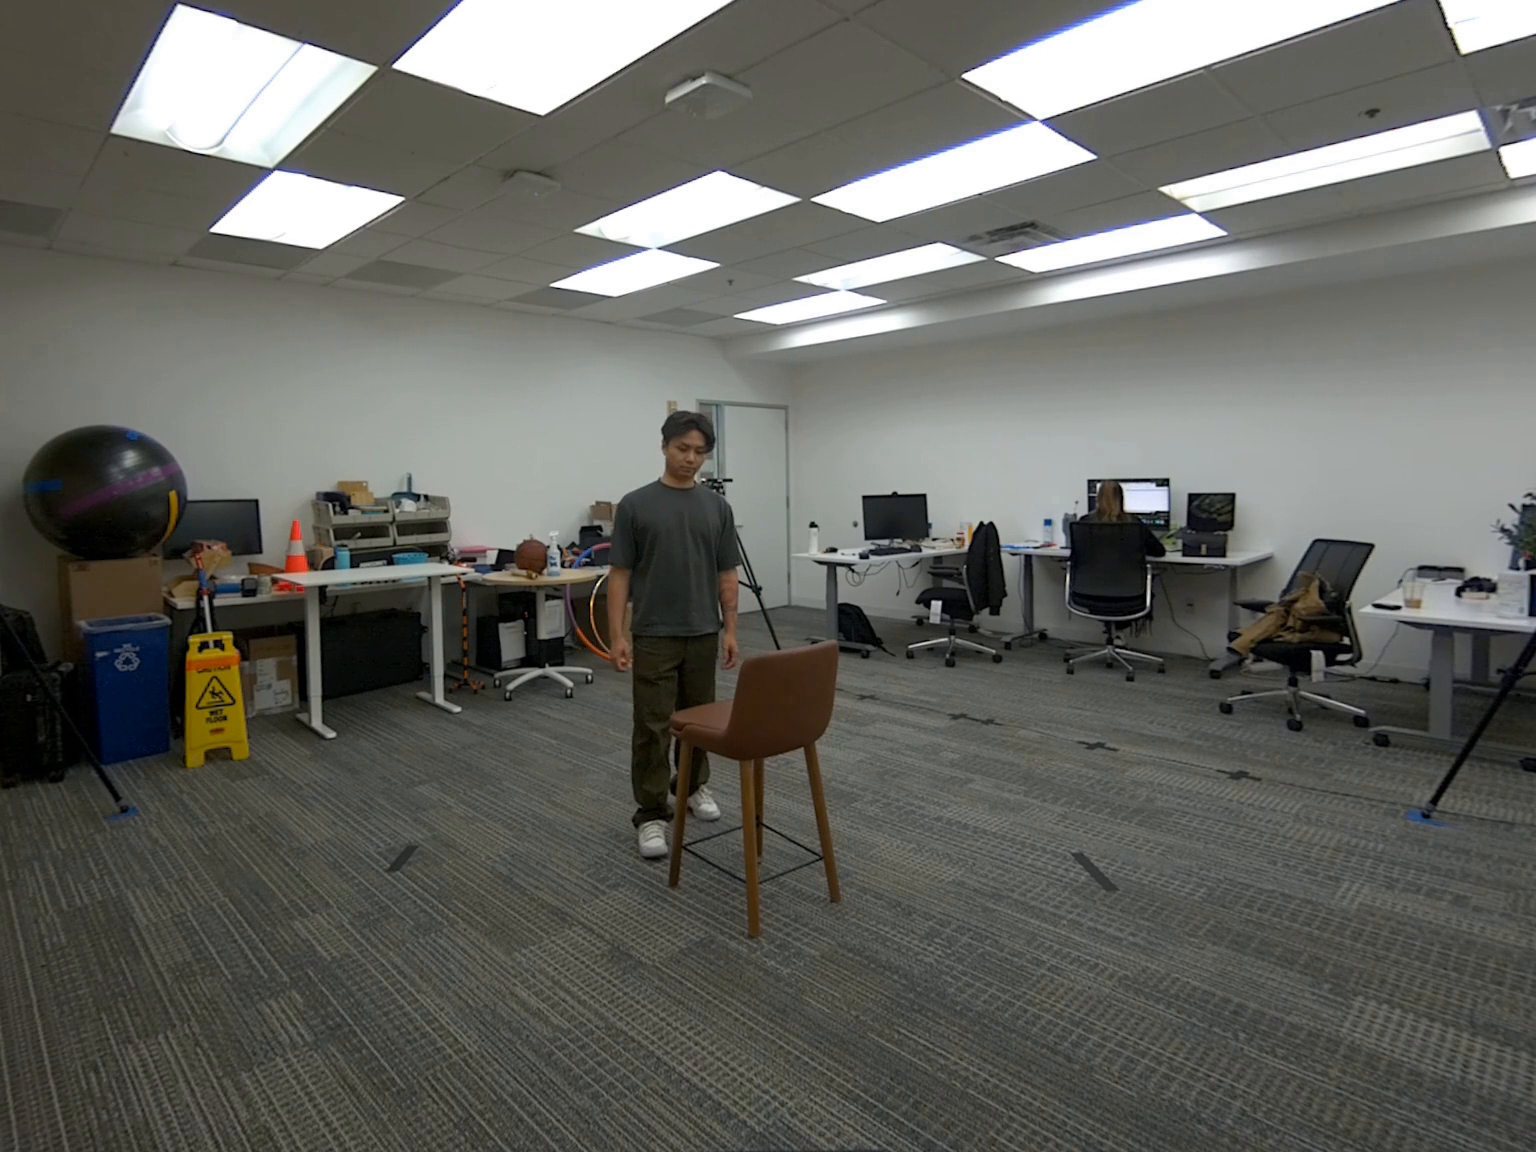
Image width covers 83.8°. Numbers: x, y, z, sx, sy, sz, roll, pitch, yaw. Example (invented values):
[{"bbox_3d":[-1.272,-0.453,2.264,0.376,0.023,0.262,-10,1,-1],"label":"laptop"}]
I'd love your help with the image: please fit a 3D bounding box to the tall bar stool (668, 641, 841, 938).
[{"bbox_3d":[-0.045,0.633,2.864,0.444,0.885,0.482,-4,7,-39],"label":"tall bar stool"}]
